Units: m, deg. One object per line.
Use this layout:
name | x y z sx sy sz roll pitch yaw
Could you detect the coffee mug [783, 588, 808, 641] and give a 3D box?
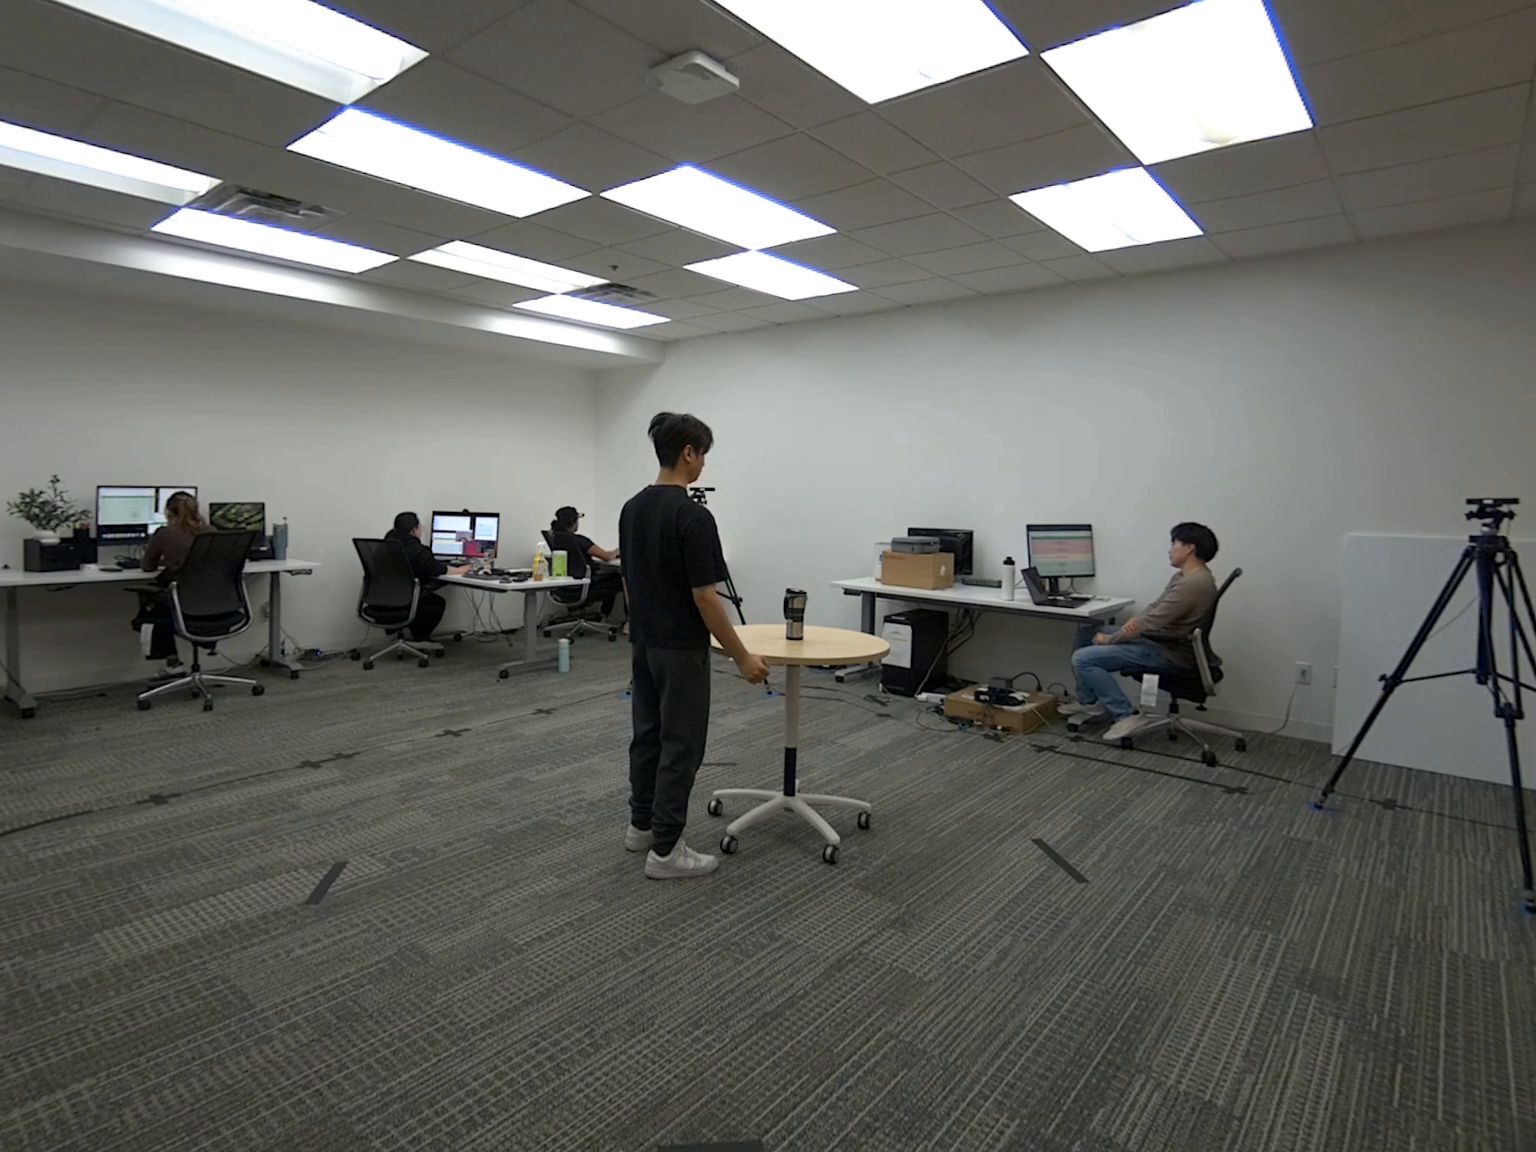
coffee mug | 0.085 0.154 3.459 0.118 0.202 0.091 2 7 -35
